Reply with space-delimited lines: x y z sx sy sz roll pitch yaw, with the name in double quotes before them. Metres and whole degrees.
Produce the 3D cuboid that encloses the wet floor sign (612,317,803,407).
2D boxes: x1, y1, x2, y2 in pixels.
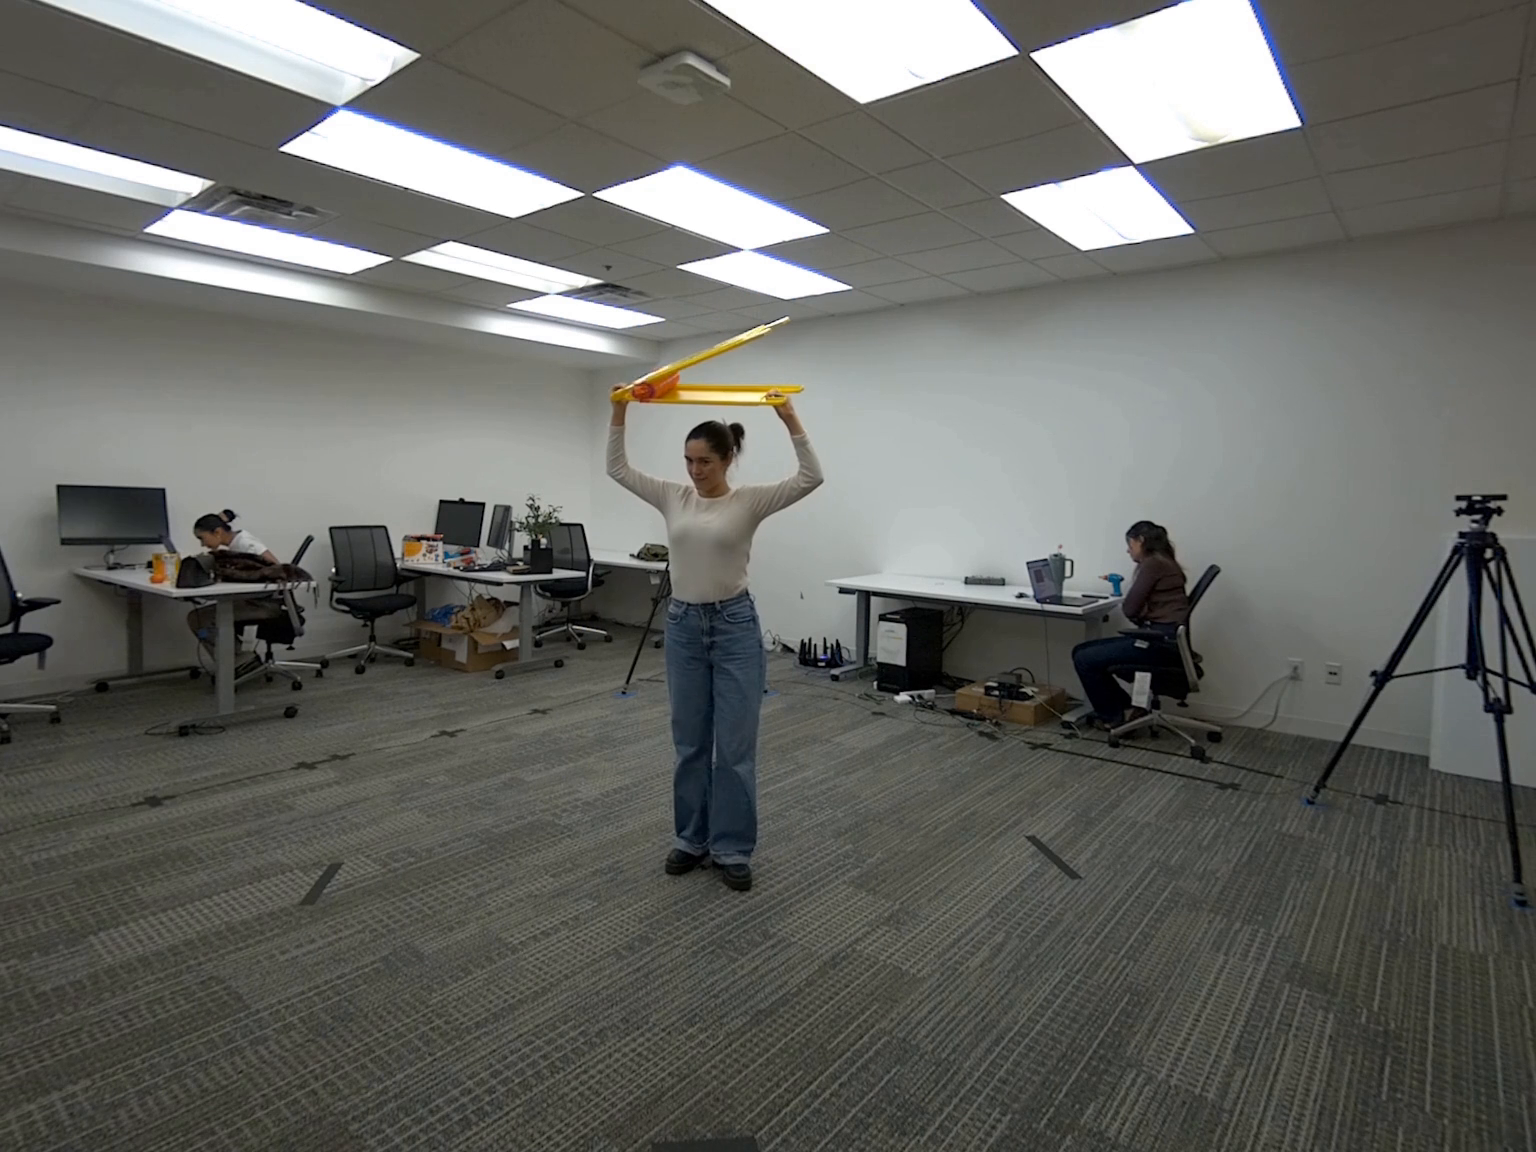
"wet floor sign" -0.249 -0.706 3.000 0.660 0.284 0.282 -4 21 23
